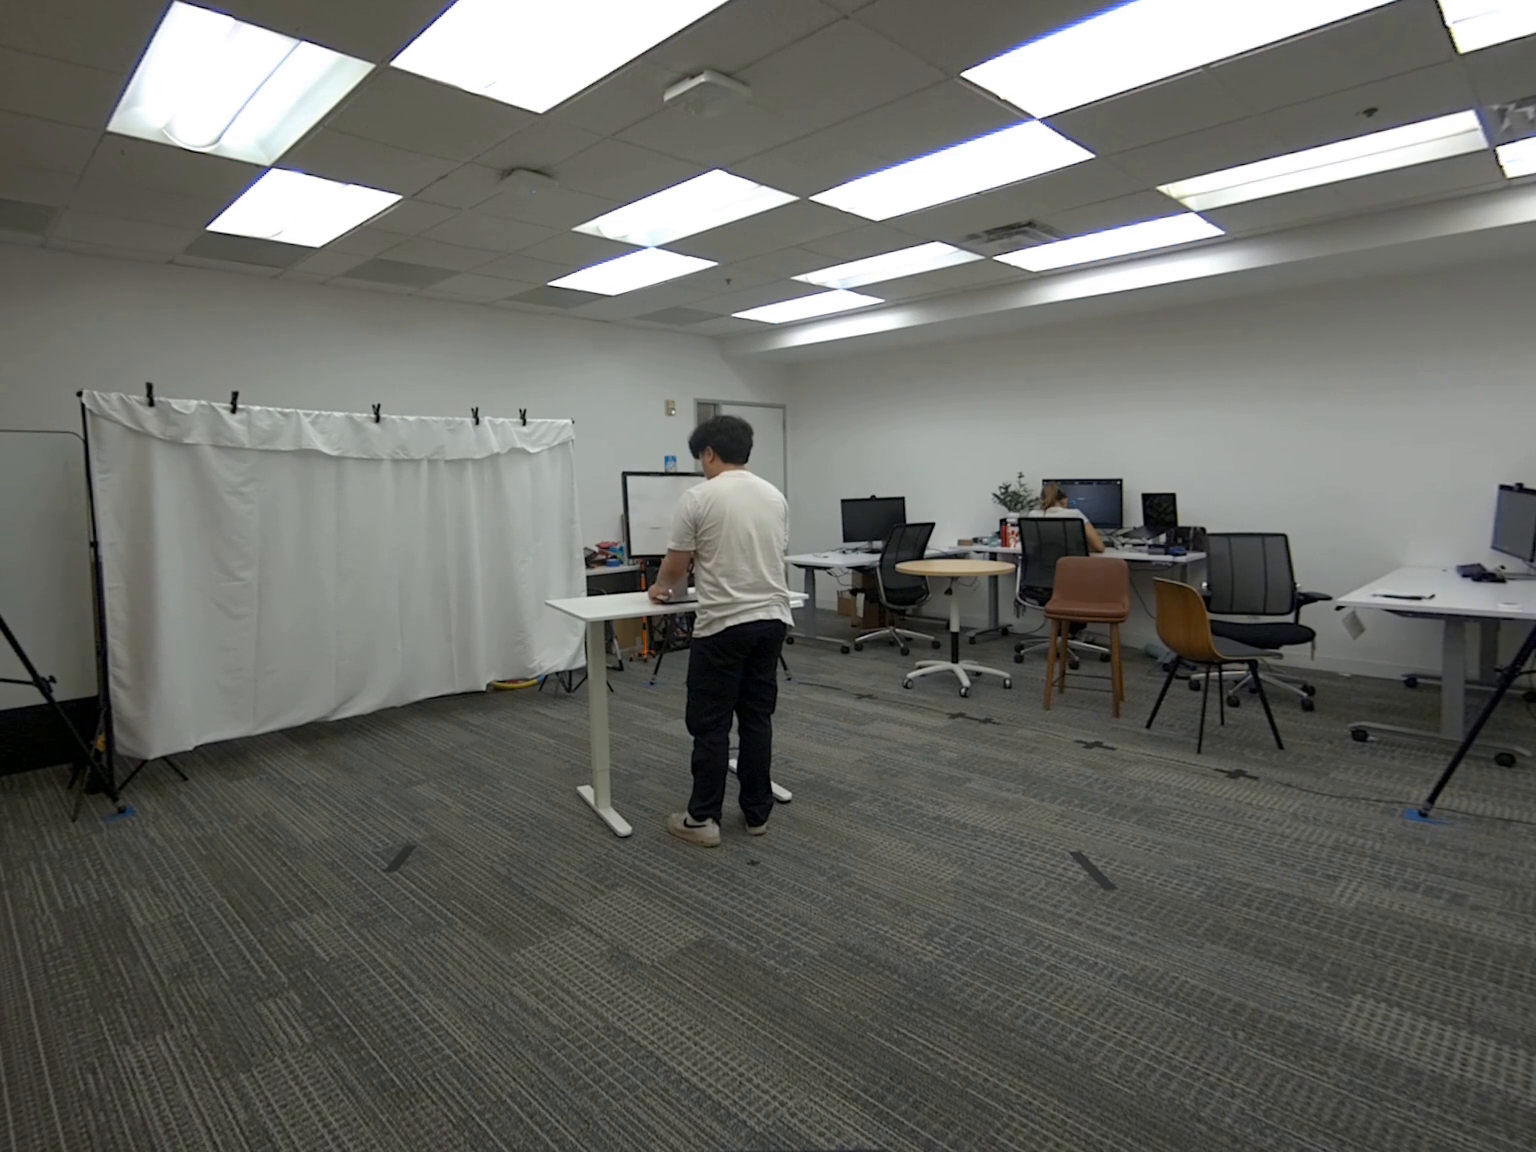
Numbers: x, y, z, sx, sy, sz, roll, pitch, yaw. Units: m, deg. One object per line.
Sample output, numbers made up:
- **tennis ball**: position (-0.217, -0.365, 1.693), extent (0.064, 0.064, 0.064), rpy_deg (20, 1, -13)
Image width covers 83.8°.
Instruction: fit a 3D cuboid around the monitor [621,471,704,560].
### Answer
- **monitor**: position (-0.374, -0.169, 3.654), extent (0.552, 0.554, 0.215), rpy_deg (-3, 0, -28)
